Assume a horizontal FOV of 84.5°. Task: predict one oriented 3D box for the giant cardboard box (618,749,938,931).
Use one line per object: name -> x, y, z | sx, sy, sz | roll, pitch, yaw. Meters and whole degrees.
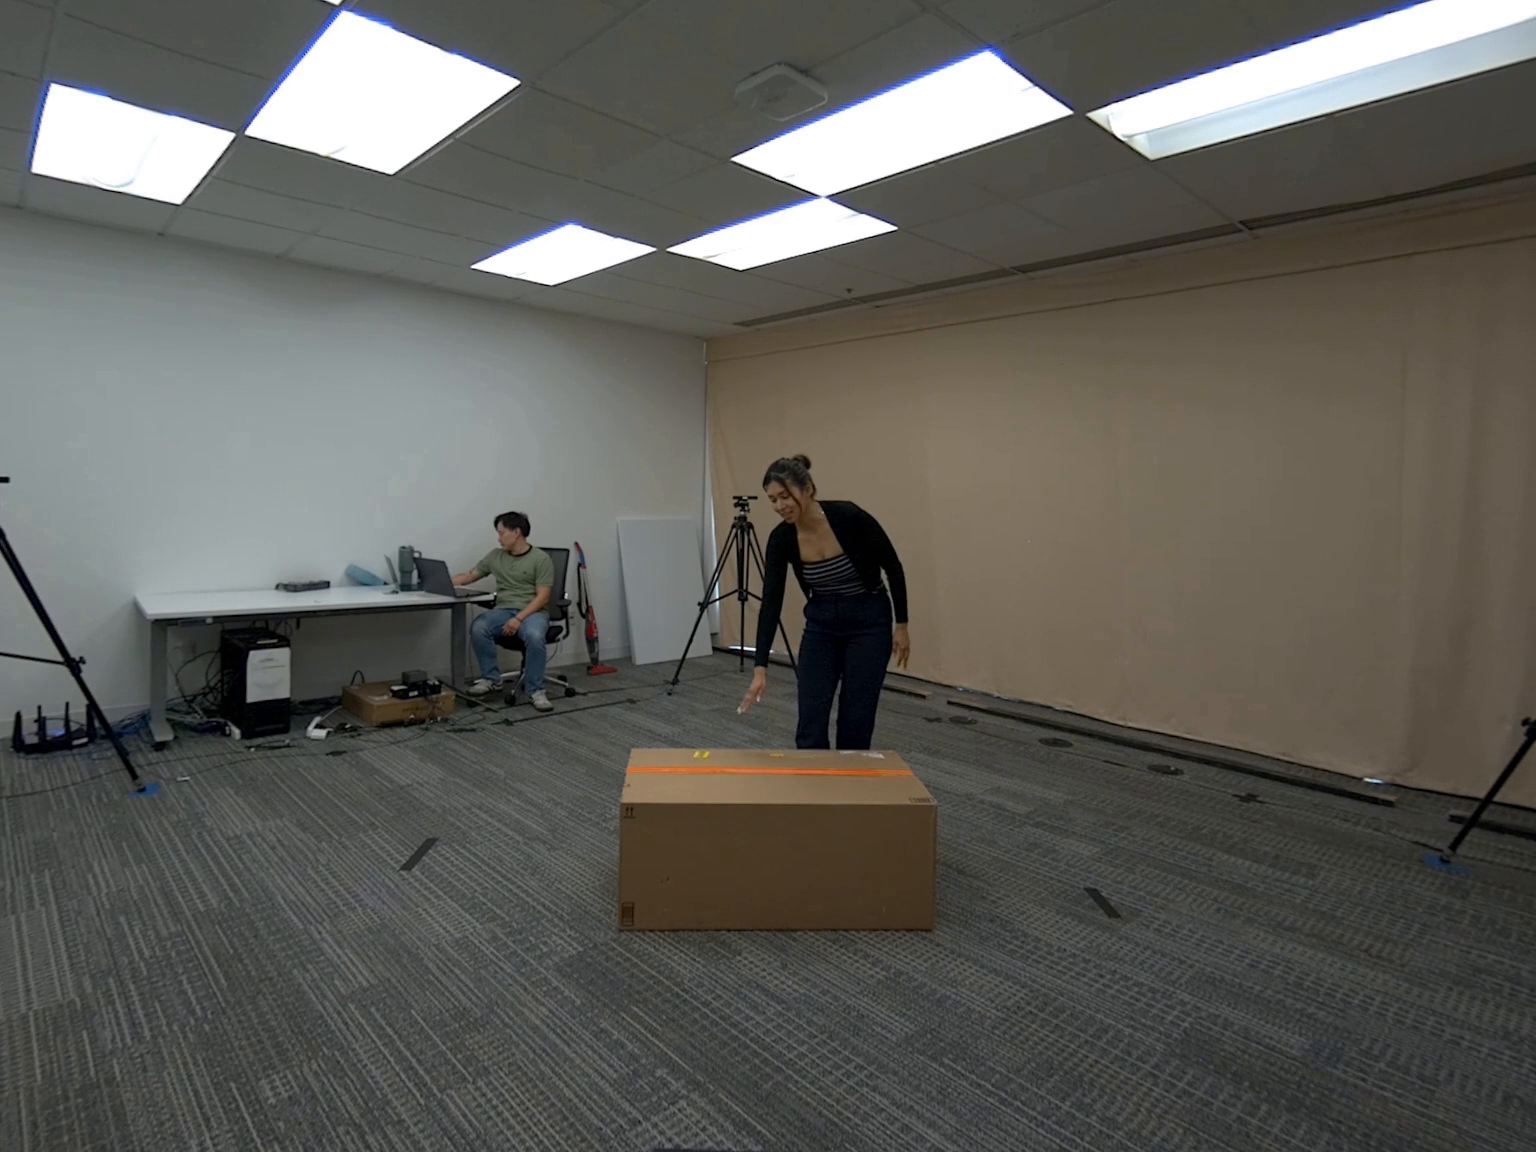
giant cardboard box -> -0.002, 0.901, 2.972 | 1.023, 0.425, 0.580 | 1, 4, -4
